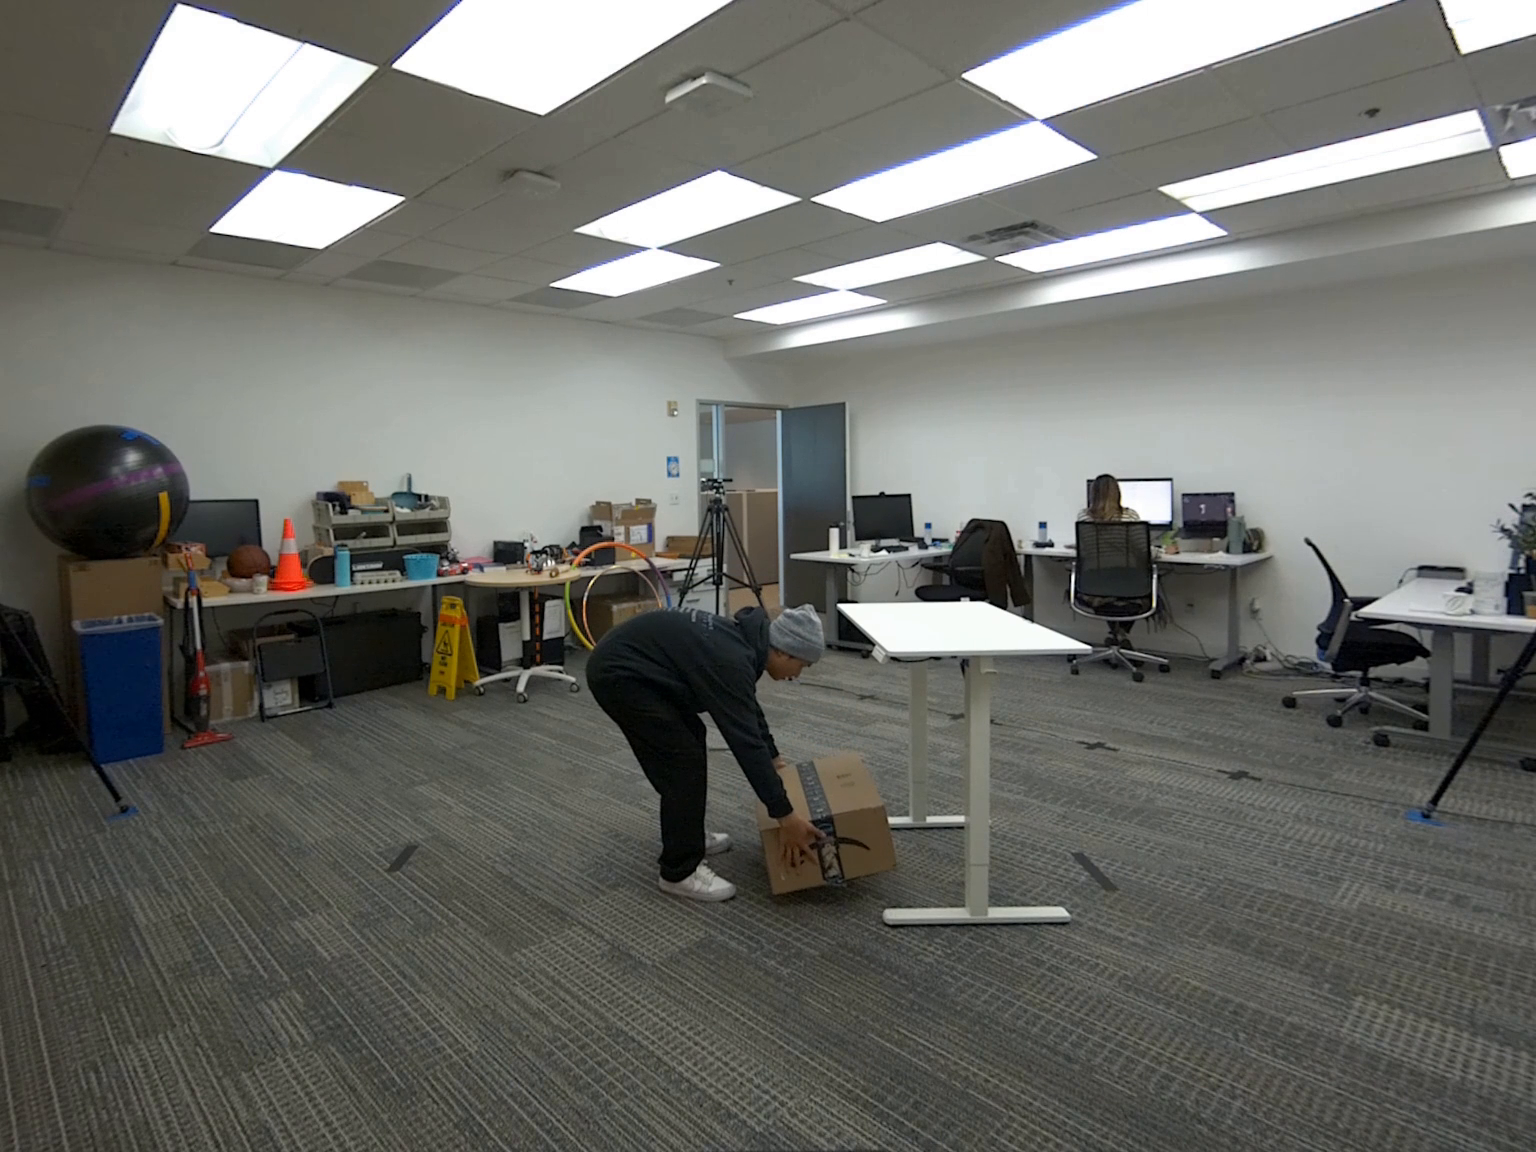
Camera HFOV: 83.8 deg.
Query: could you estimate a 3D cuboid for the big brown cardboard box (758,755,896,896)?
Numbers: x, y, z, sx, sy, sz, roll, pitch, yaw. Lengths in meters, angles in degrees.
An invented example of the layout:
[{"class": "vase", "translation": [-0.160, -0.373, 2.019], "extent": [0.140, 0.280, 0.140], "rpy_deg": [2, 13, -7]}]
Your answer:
[{"class": "big brown cardboard box", "translation": [0.173, 0.850, 3.023], "extent": [0.417, 0.232, 0.592], "rpy_deg": [-11, 7, -1]}]
